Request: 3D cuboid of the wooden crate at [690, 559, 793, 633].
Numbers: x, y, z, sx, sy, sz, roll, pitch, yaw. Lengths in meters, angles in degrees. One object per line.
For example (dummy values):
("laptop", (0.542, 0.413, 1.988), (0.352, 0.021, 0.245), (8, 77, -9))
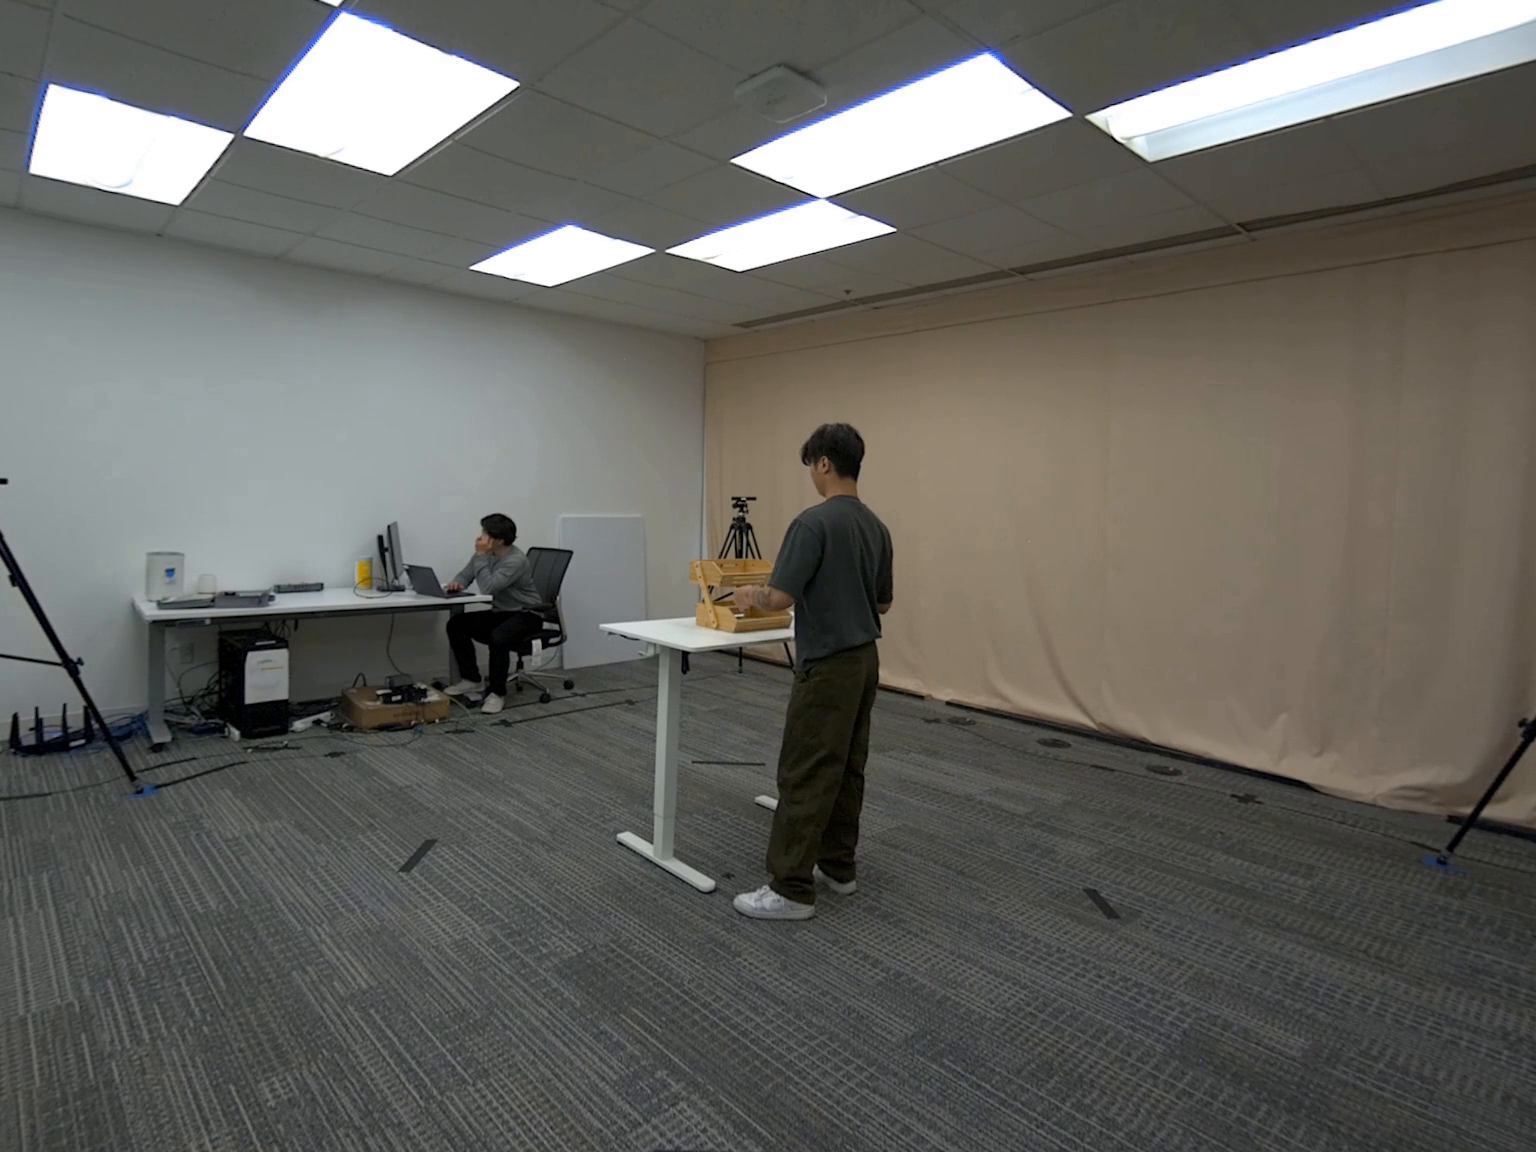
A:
("wooden crate", (-0.116, 0.068, 3.377), (0.317, 0.273, 0.310), (-1, 4, -42))
